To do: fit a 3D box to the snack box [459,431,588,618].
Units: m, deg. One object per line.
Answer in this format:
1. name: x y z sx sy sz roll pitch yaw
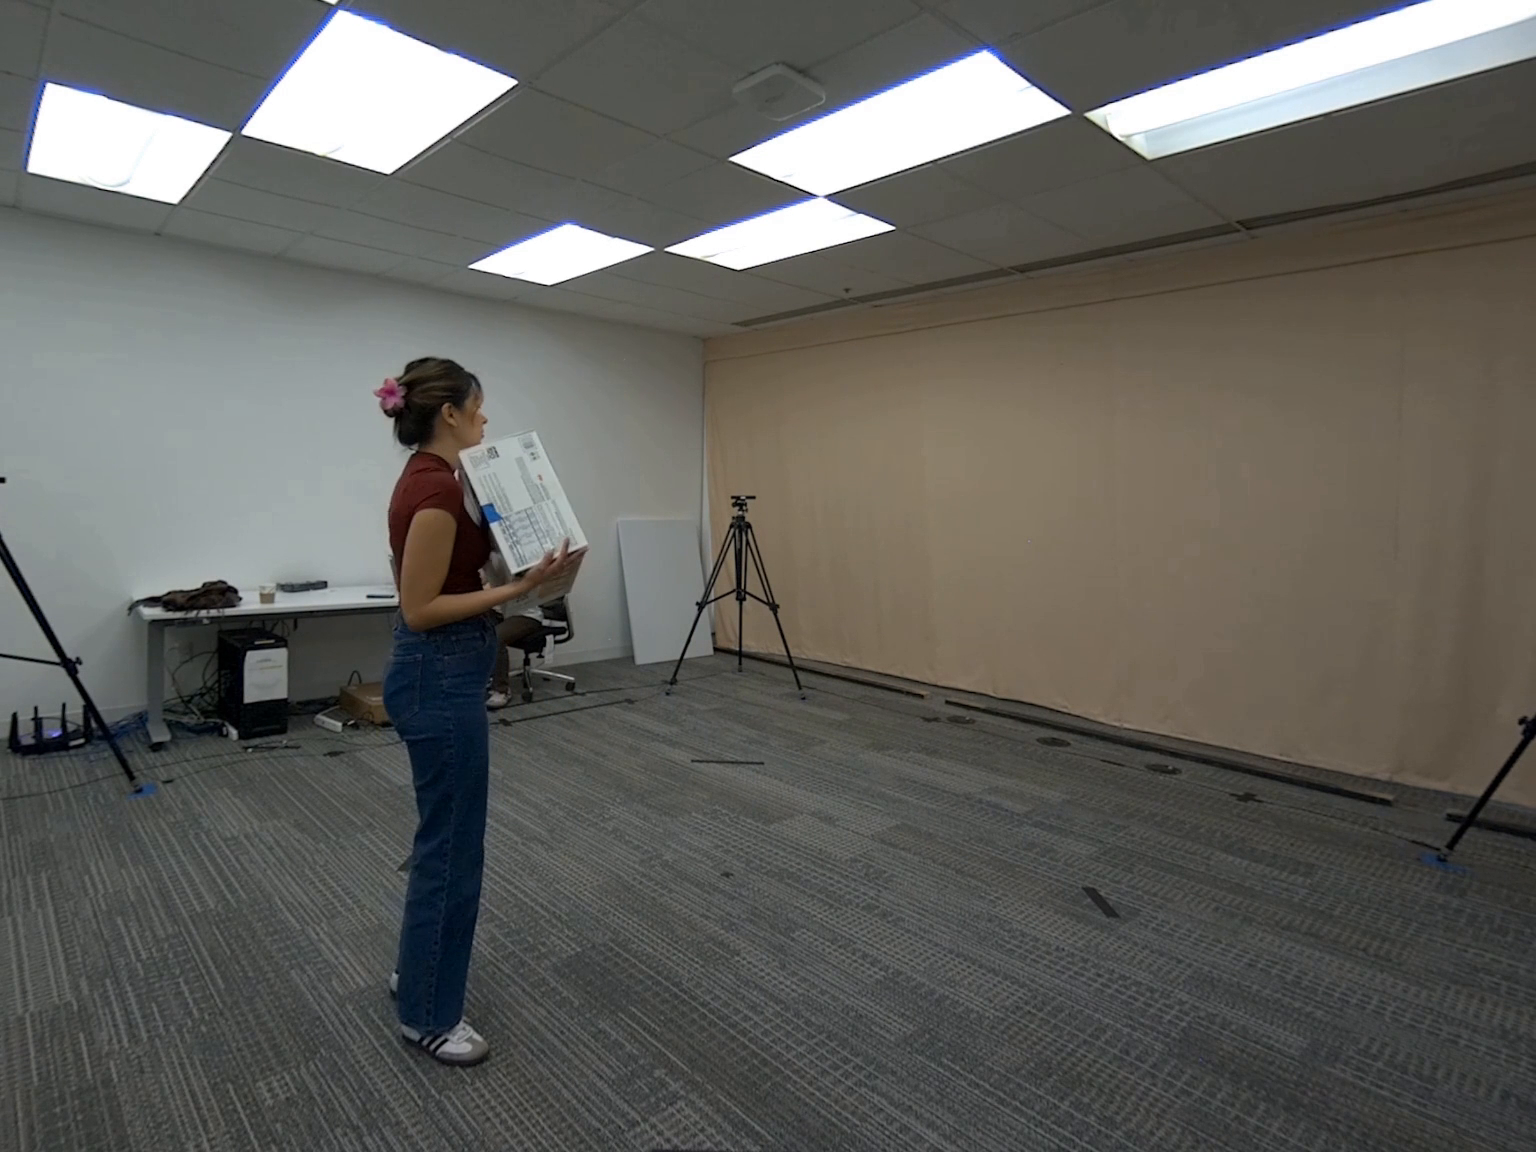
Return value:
1. snack box: -0.672 -0.125 2.229 0.203 0.344 0.405 -22 -11 -27
